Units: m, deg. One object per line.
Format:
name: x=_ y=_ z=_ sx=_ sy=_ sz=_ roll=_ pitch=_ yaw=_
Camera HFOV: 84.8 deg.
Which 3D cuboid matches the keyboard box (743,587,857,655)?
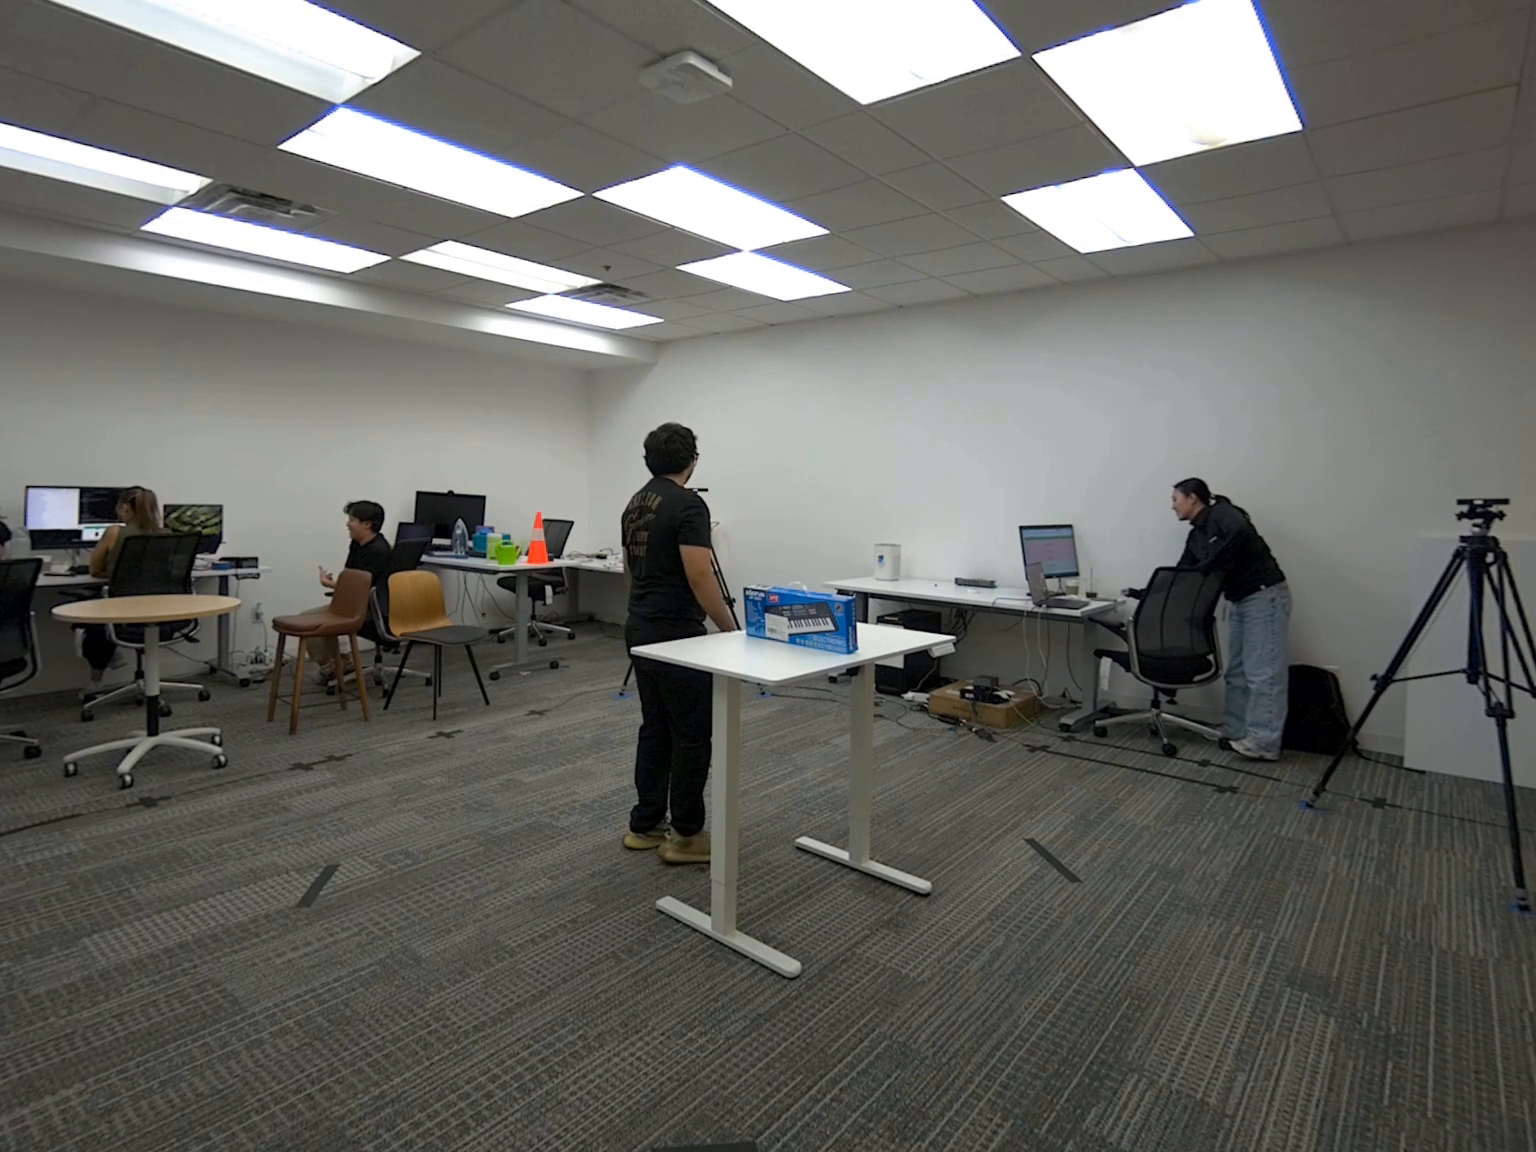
keyboard box: x=0.091 y=0.137 z=2.802 sx=0.452 sy=0.174 sz=0.057 roll=7 pitch=13 yaw=43
